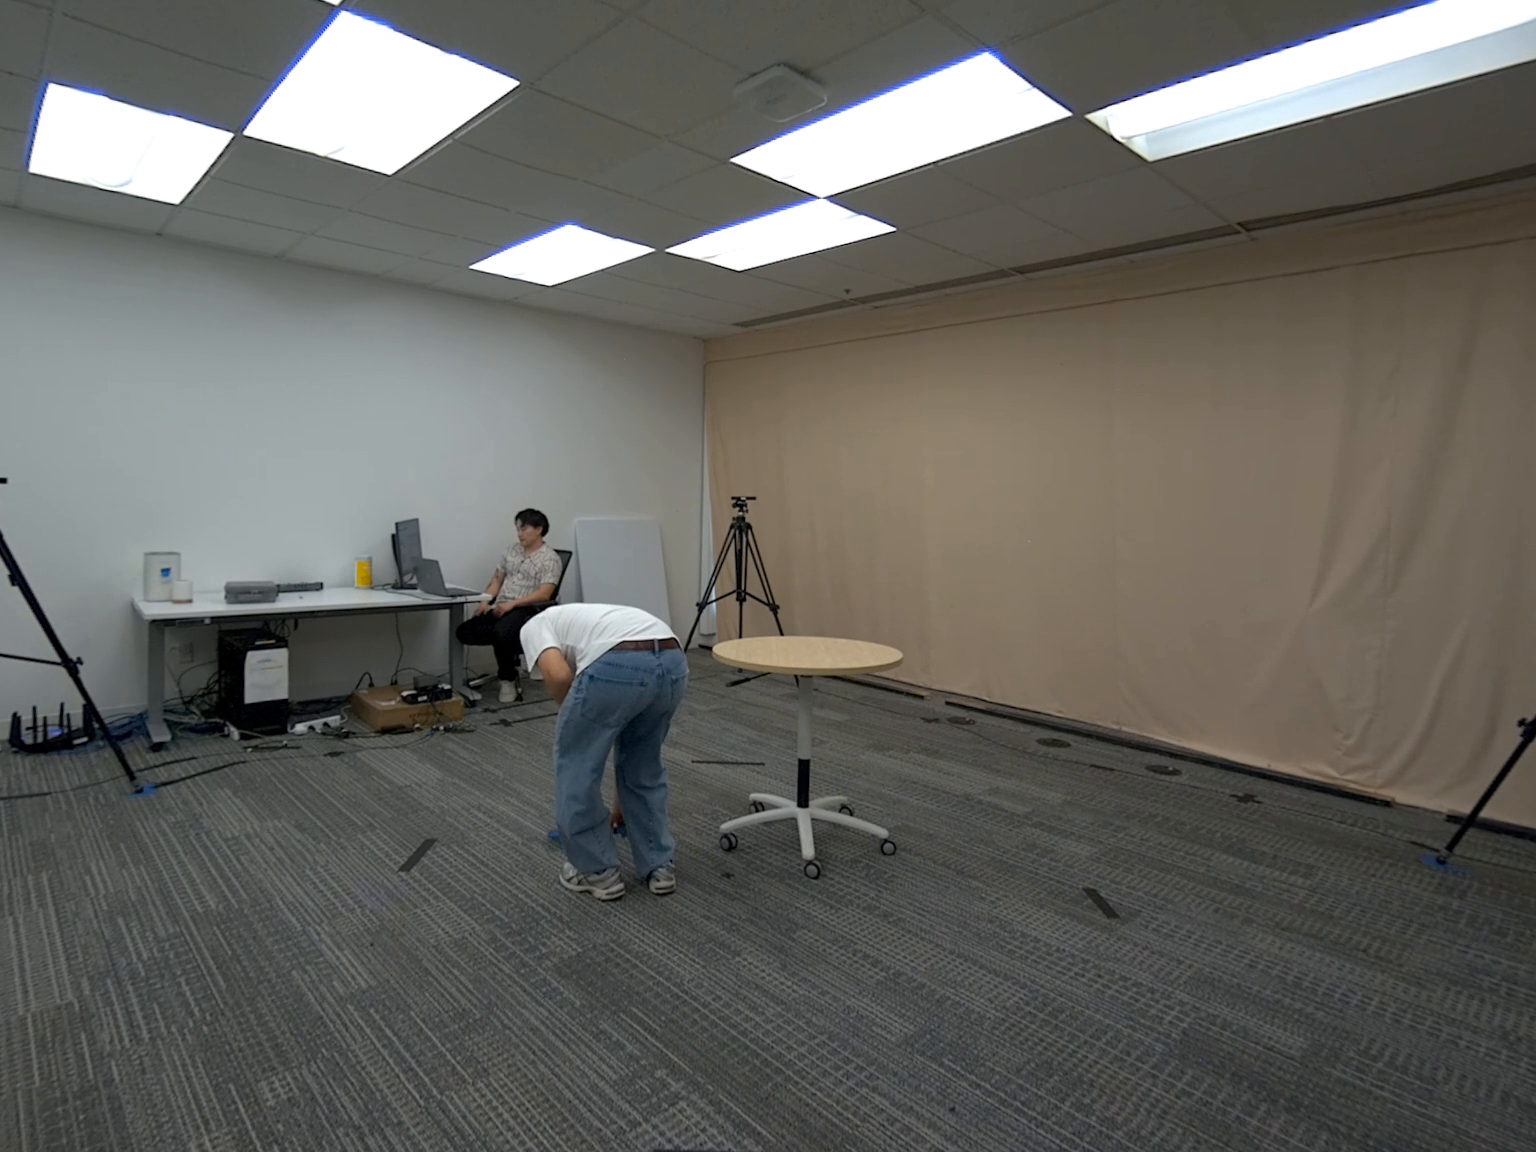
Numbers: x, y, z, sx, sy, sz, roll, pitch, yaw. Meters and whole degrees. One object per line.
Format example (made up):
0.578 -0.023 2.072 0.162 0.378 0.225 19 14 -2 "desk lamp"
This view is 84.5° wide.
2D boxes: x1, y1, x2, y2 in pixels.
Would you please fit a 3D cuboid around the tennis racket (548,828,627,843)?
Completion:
-0.710 1.010 3.317 0.441 0.032 0.208 -10 -7 40 "tennis racket"
